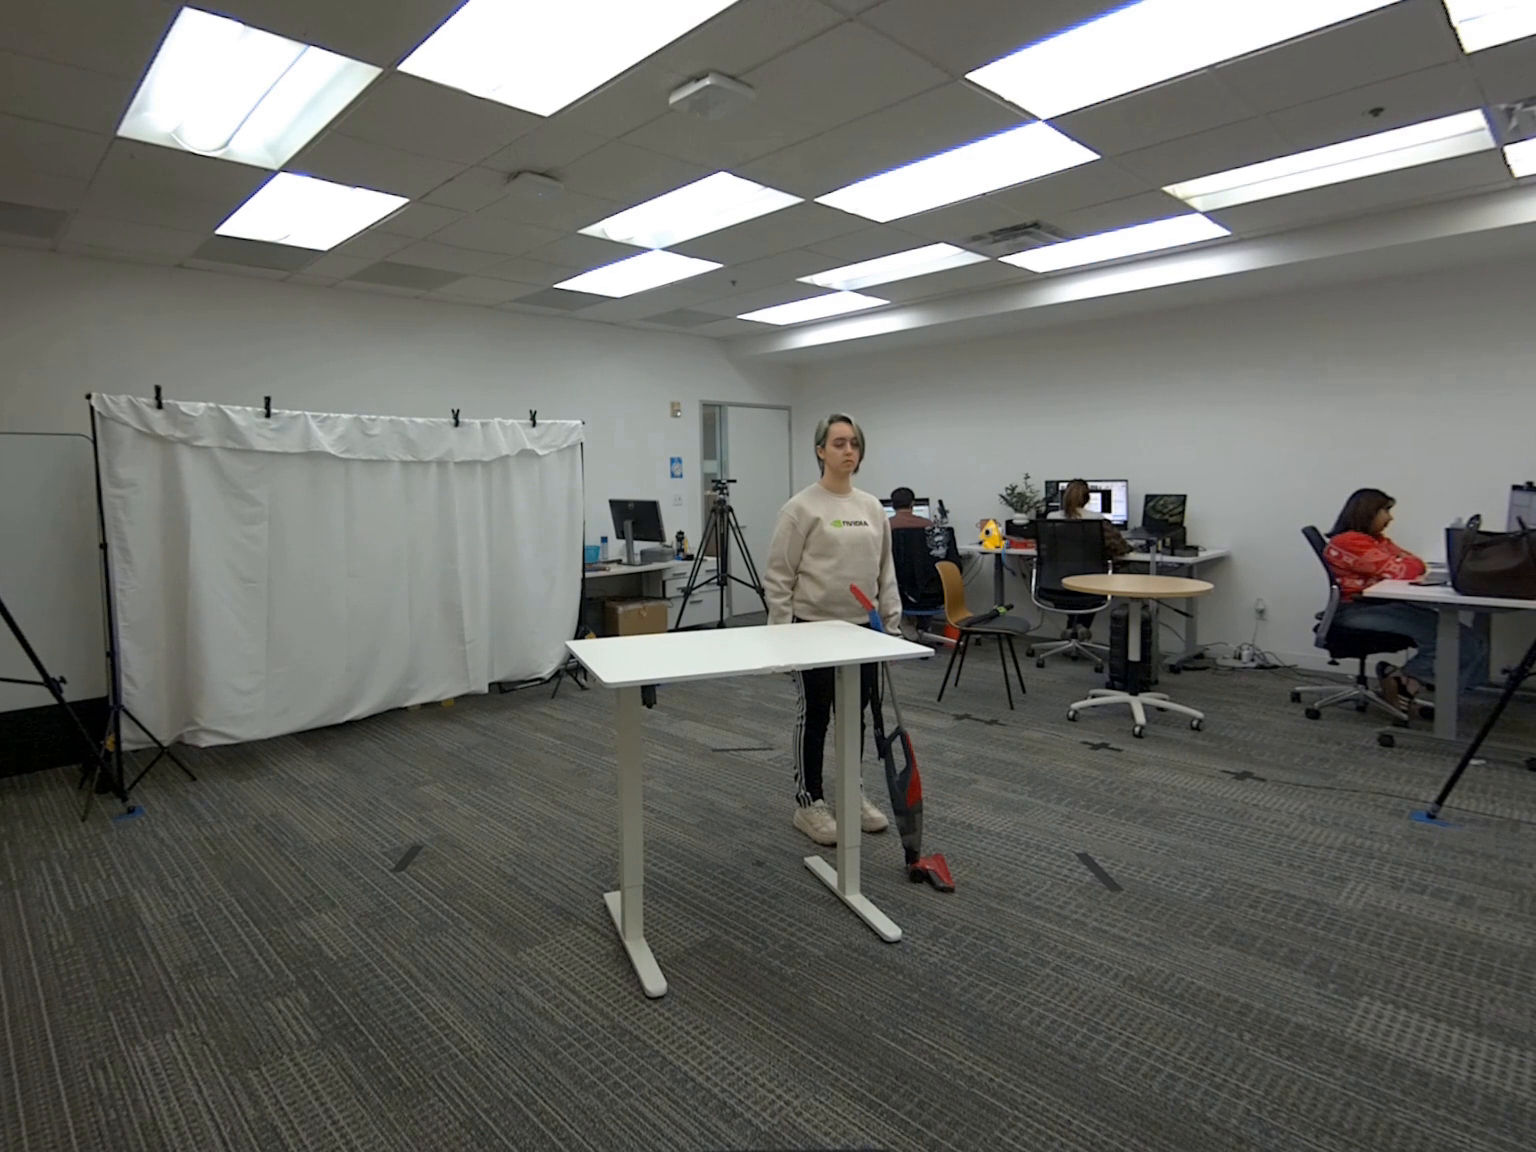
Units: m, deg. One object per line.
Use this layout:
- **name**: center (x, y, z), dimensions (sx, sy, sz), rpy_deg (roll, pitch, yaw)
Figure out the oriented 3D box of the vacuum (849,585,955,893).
- **vacuum**: center (0.433, 0.552, 2.983), dimensions (0.144, 1.048, 0.252), rpy_deg (-15, 1, 4)
